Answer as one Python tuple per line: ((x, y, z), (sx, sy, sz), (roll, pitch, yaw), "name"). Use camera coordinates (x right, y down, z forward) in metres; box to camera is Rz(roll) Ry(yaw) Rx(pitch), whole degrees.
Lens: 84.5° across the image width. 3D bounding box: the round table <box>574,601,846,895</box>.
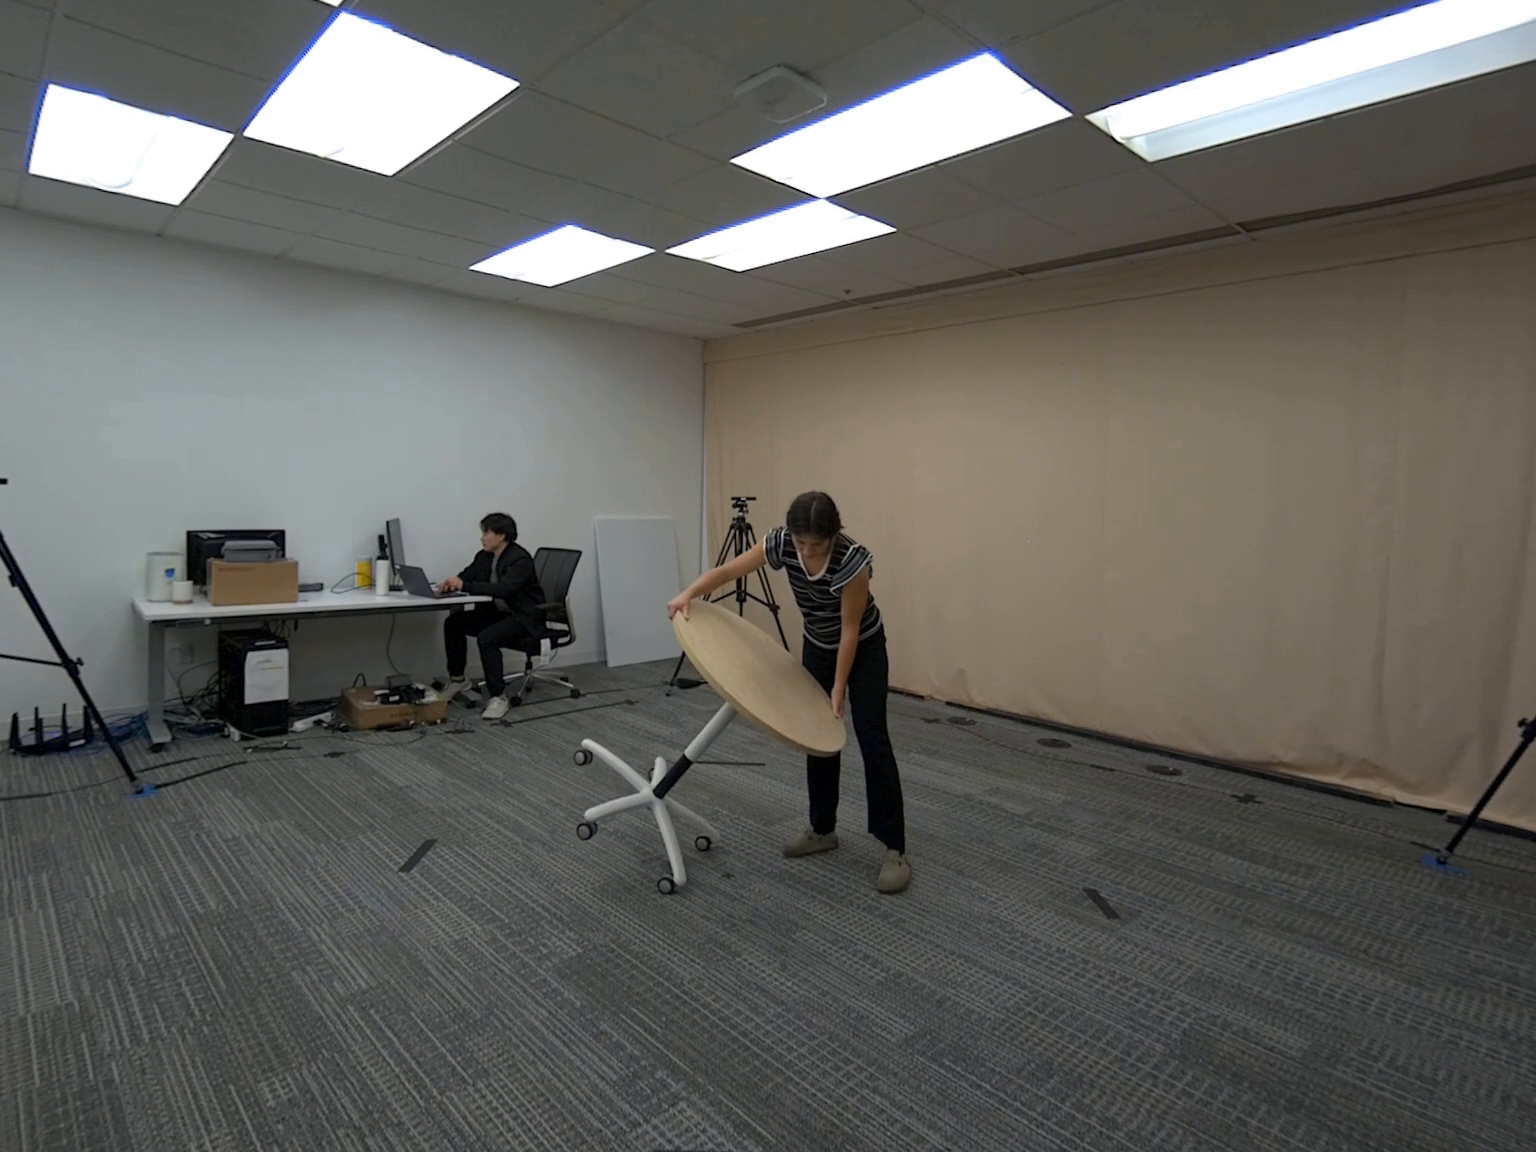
((-0.269, 0.639, 3.115), (0.755, 0.793, 0.774), (36, 14, -12), "round table")
